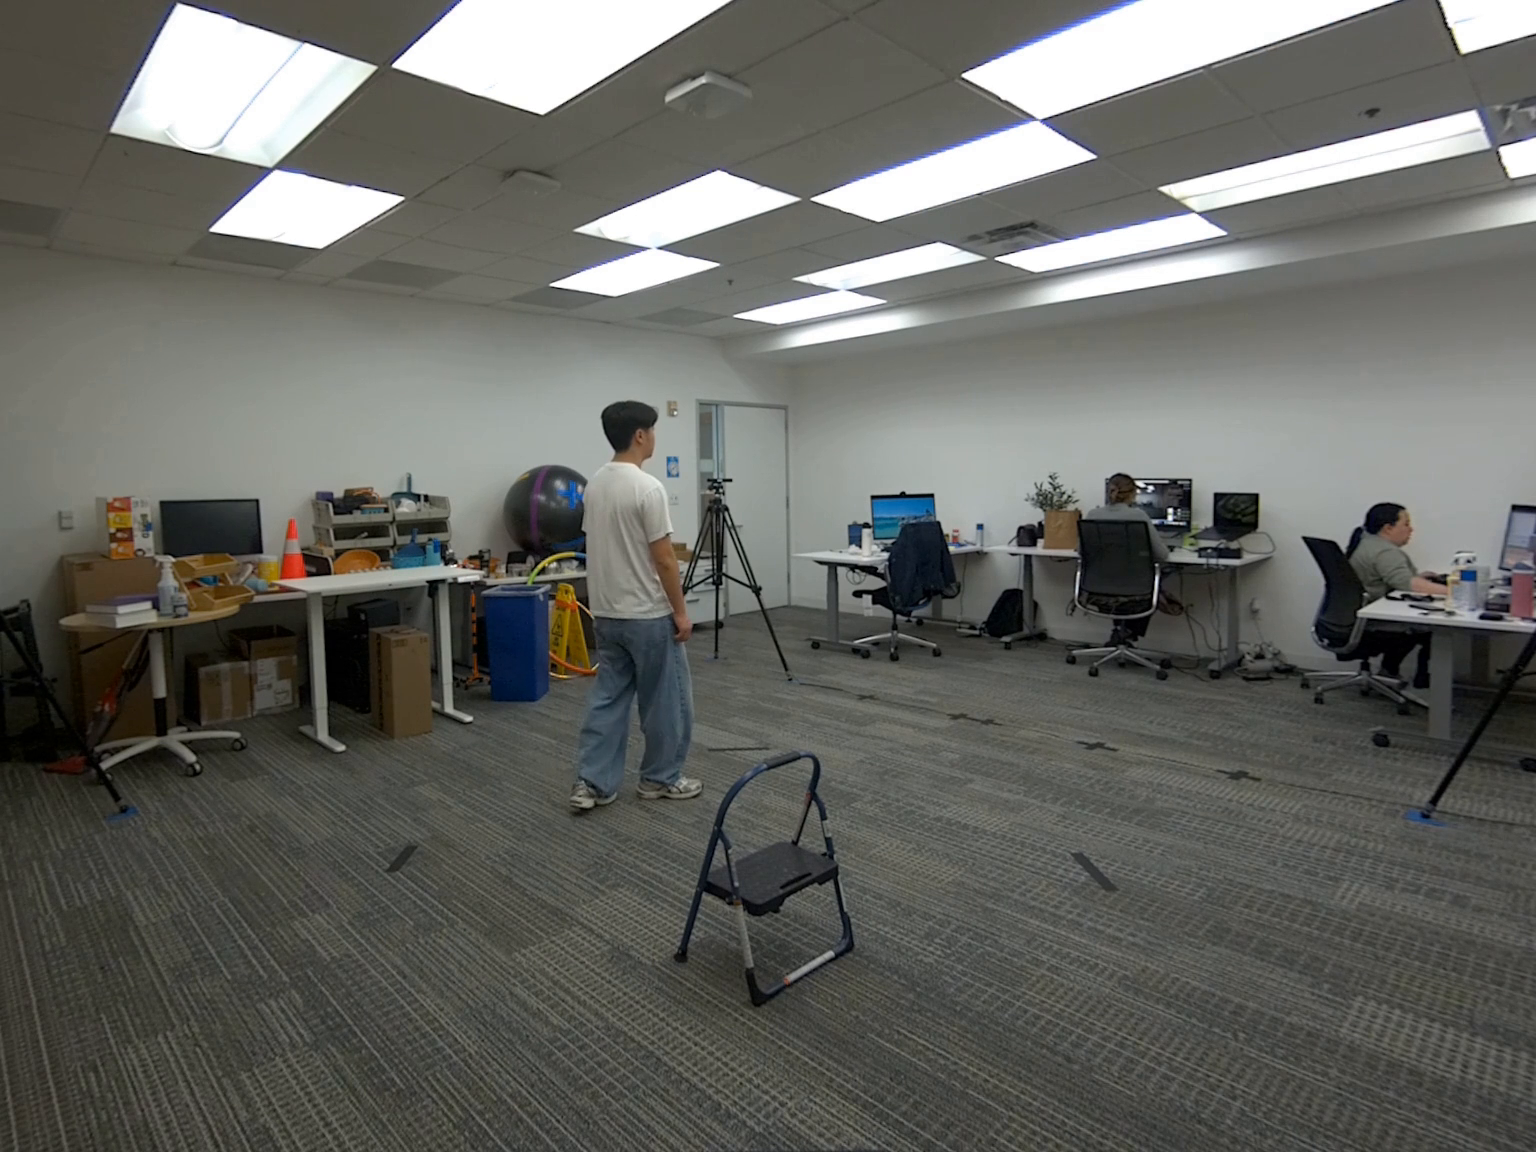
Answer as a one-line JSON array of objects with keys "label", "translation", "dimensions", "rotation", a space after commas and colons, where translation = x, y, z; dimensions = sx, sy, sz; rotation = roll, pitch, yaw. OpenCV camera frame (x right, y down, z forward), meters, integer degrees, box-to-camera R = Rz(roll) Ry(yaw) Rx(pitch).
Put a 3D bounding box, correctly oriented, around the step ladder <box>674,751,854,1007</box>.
[{"label": "step ladder", "translation": [-0.009, 0.809, 2.502], "dimensions": [0.360, 0.604, 0.419], "rotation": [3, 6, 45]}]
